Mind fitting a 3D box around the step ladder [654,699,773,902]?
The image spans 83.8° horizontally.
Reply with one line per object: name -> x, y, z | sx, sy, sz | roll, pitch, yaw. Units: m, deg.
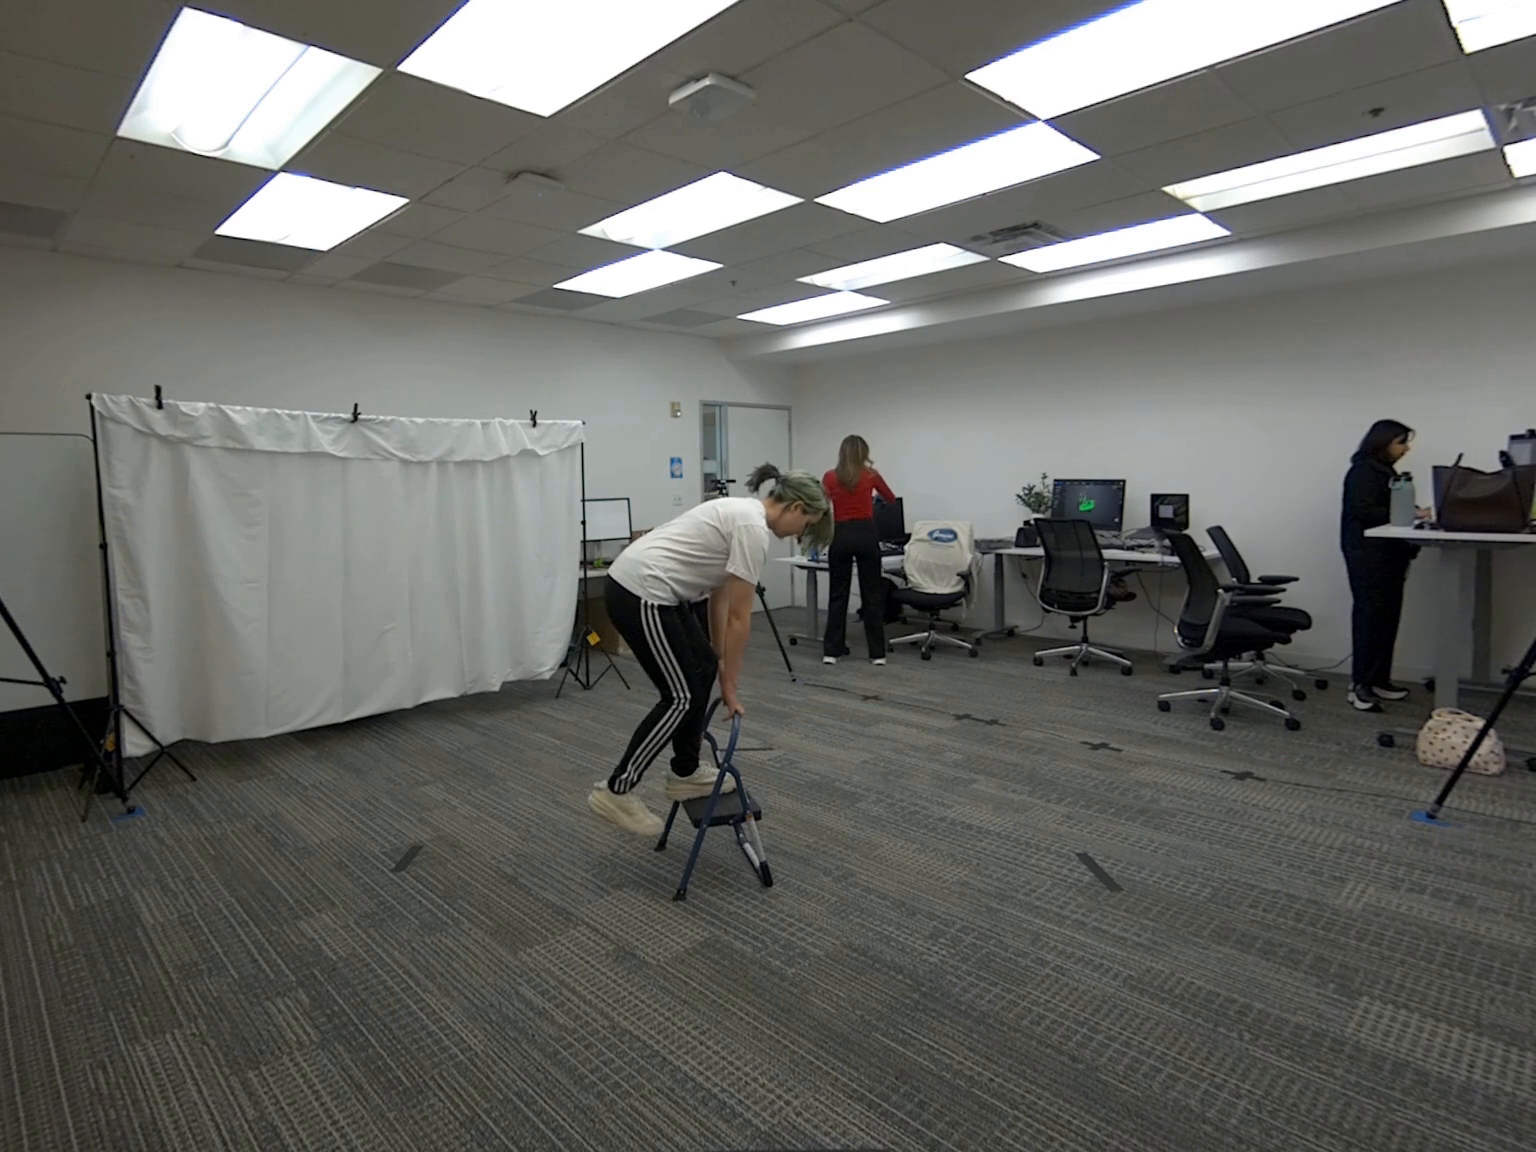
step ladder -> -0.205, 0.758, 3.071 | 0.344, 0.604, 0.438 | -2, 5, -16
